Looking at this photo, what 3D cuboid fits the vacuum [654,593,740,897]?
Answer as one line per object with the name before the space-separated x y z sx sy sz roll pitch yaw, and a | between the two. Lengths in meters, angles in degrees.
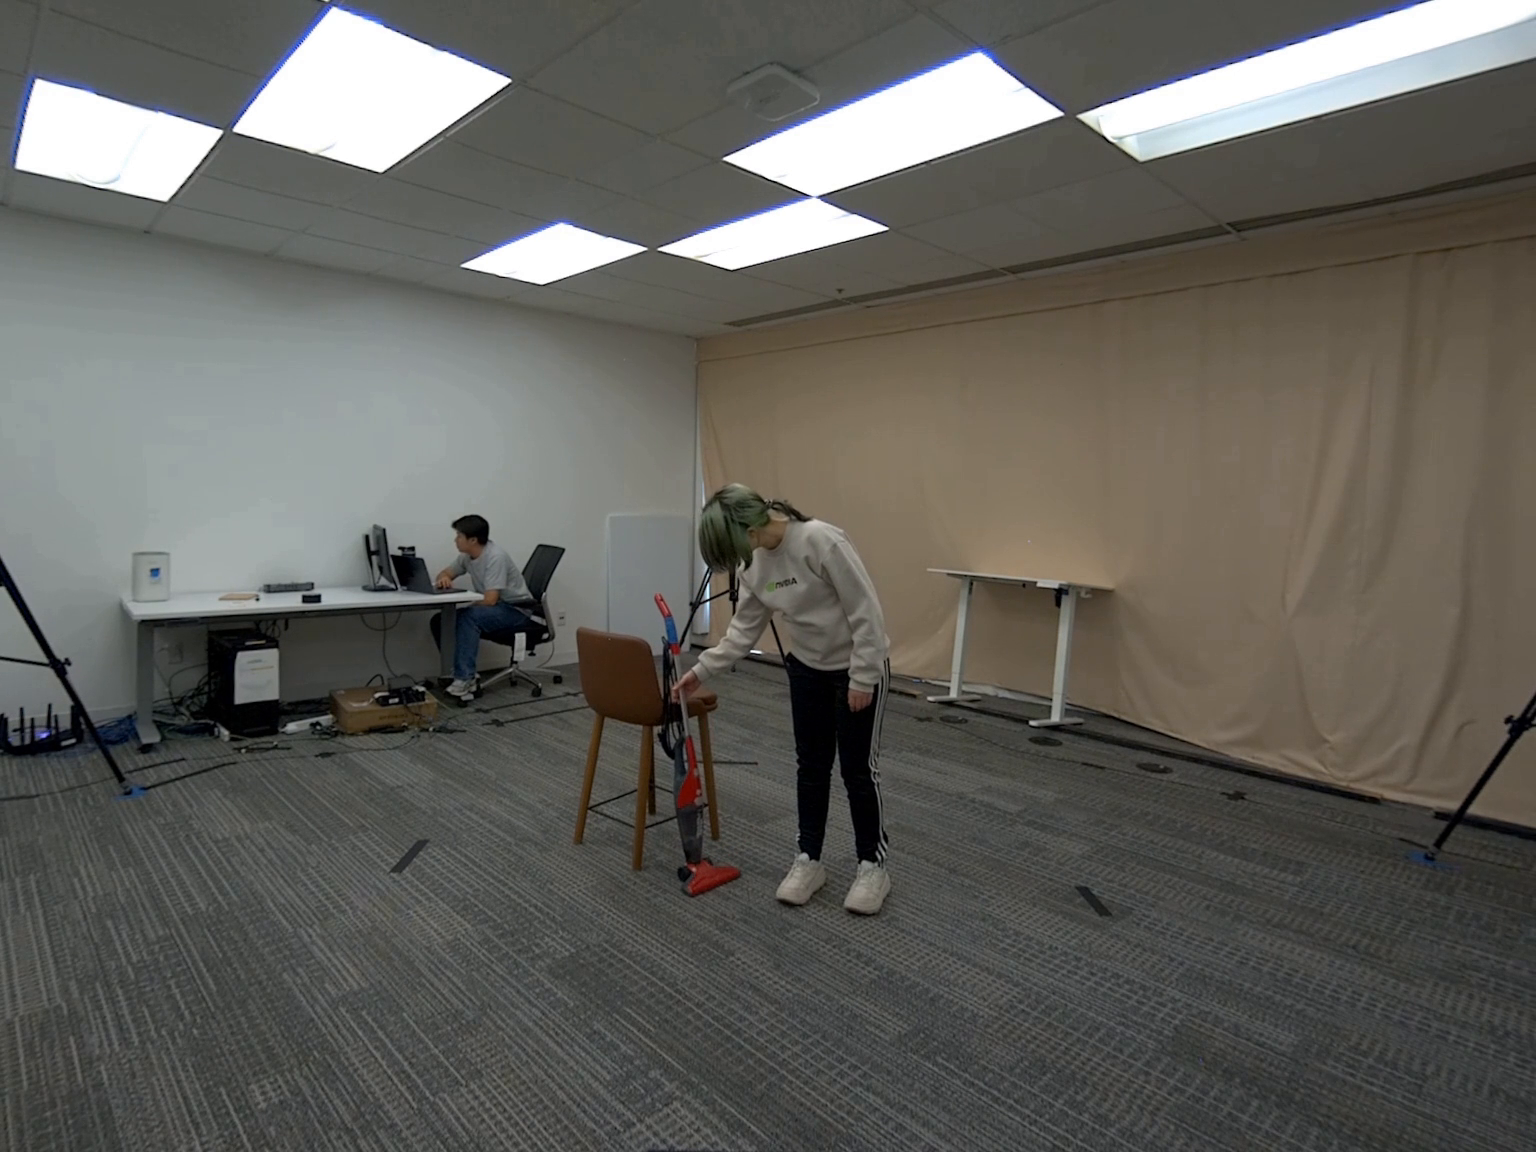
vacuum | -0.326 0.594 3.130 0.247 1.056 0.146 -4 -10 -40
